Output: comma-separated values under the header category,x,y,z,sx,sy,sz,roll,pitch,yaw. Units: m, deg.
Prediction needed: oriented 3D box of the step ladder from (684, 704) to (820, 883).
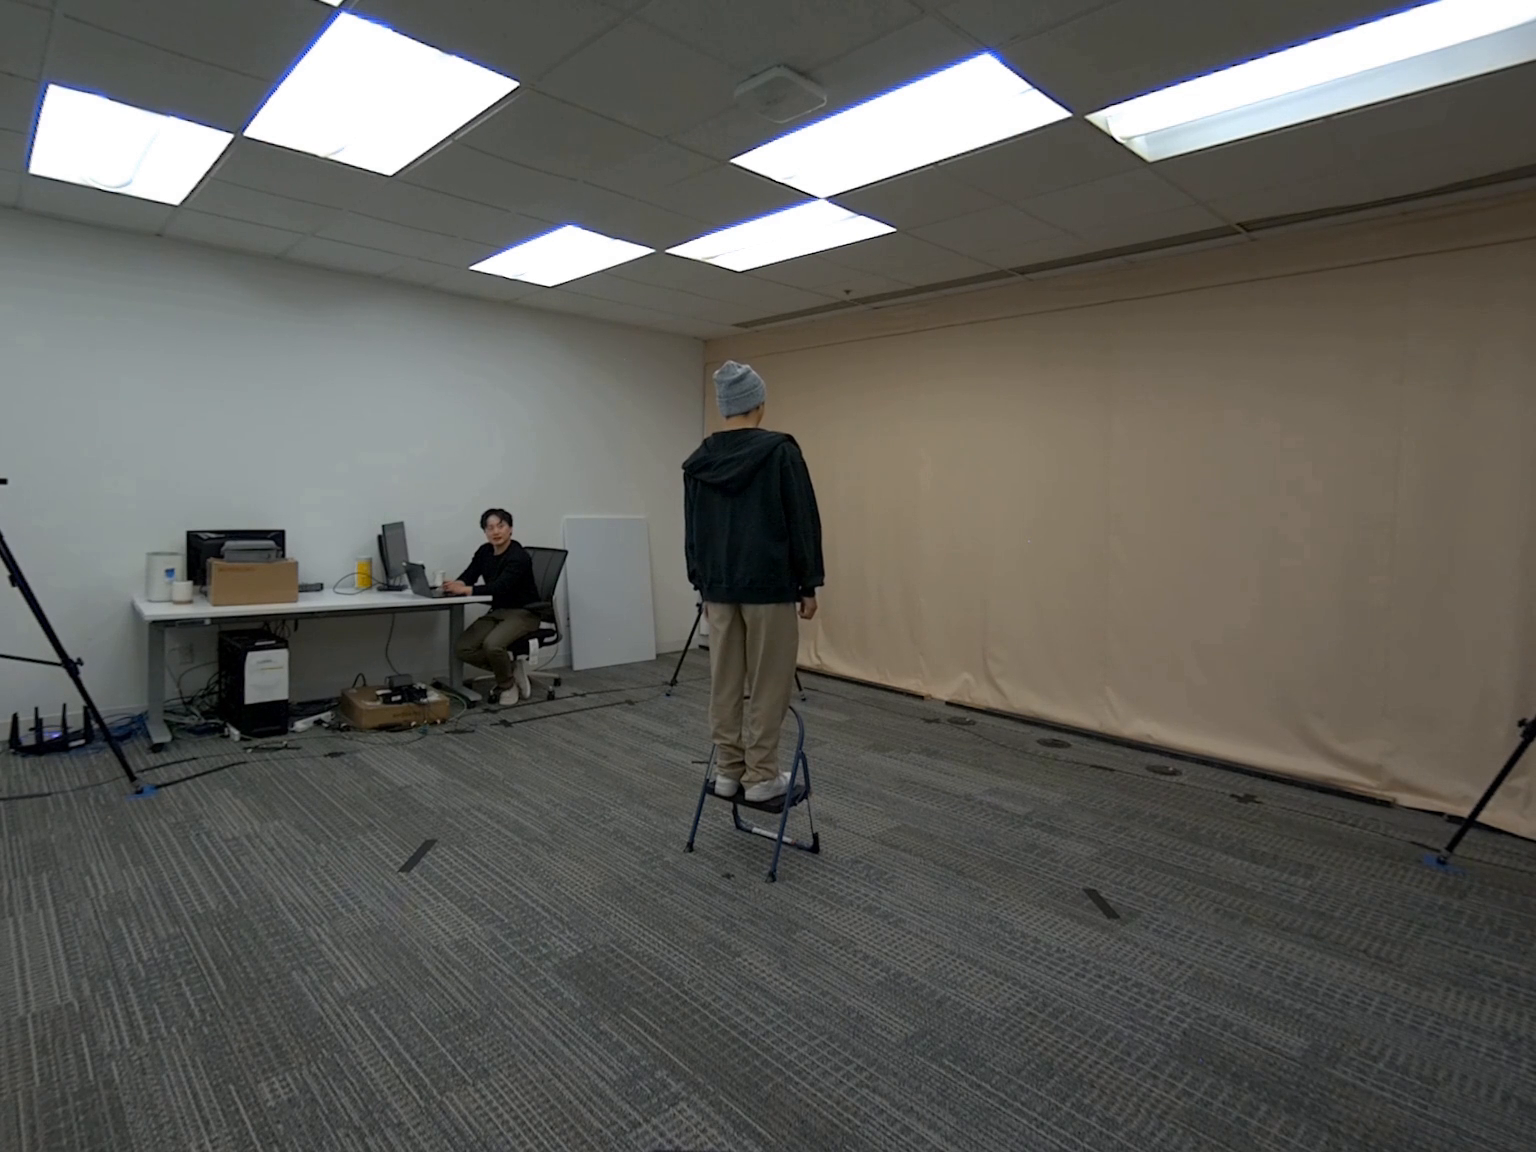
category,x,y,z,sx,sy,sz,roll,pitch,yaw
step ladder,-0.054,0.790,3.306,0.441,0.605,0.341,4,3,36
